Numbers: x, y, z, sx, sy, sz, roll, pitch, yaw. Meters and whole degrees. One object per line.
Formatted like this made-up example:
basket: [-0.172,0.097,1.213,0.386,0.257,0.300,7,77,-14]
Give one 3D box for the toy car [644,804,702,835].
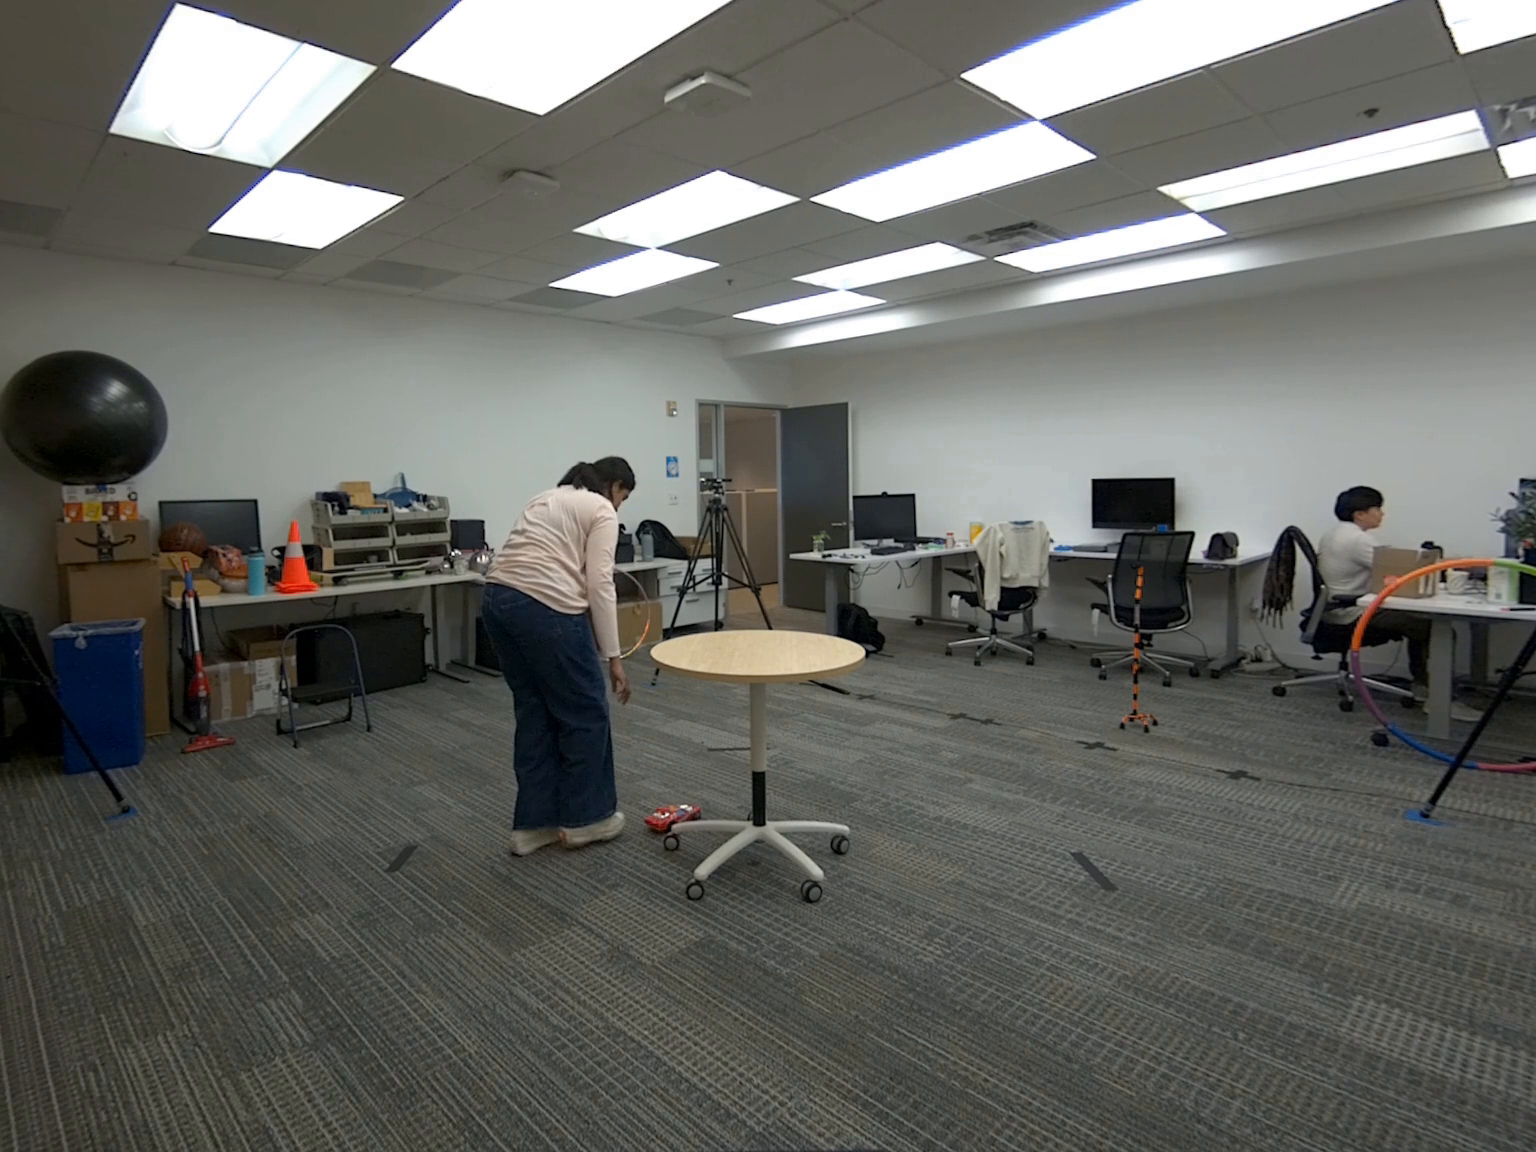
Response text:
toy car: [-0.389,0.978,3.459,0.134,0.083,0.246,4,-2,42]
